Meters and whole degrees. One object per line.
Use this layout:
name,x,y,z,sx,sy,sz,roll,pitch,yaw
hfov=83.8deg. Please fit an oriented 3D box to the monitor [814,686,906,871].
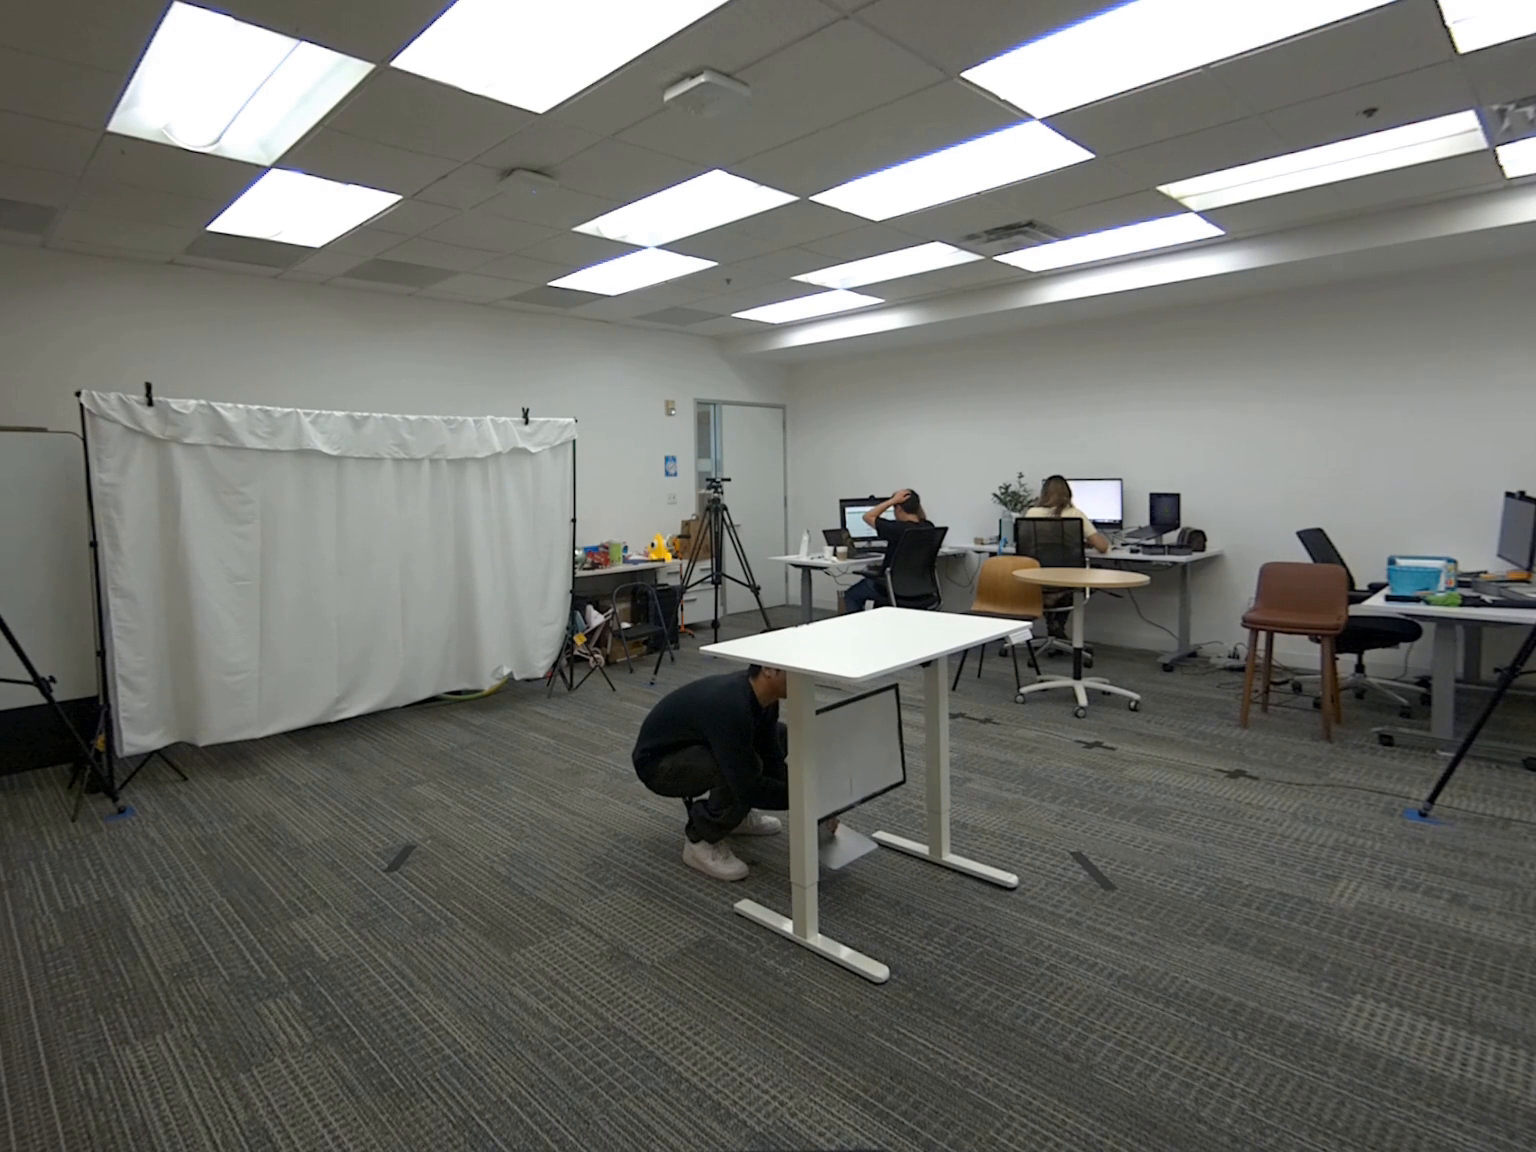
monitor,0.249,0.668,2.920,0.516,0.510,0.181,-7,21,-43
